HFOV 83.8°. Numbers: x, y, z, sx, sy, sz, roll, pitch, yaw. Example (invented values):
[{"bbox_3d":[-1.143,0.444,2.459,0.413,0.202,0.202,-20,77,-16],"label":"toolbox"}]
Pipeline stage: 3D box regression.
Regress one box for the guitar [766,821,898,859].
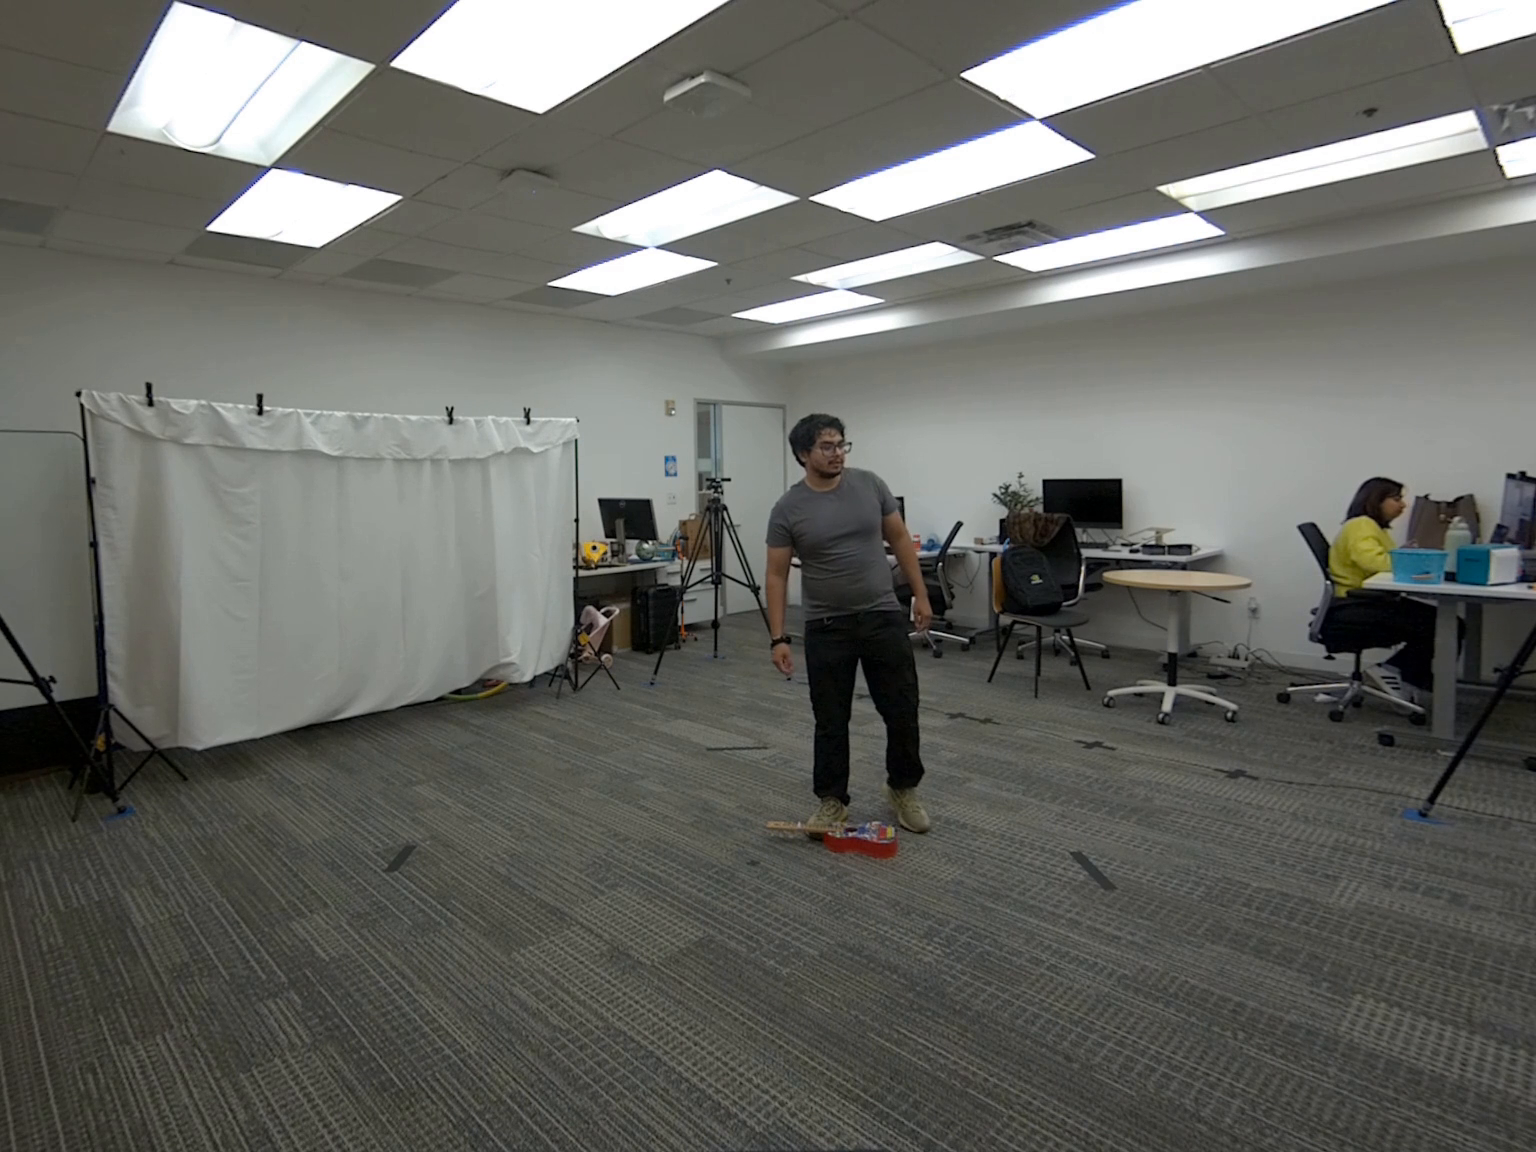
[{"bbox_3d":[0.249,0.987,3.278,0.507,0.070,0.190,1,7,19],"label":"guitar"}]
